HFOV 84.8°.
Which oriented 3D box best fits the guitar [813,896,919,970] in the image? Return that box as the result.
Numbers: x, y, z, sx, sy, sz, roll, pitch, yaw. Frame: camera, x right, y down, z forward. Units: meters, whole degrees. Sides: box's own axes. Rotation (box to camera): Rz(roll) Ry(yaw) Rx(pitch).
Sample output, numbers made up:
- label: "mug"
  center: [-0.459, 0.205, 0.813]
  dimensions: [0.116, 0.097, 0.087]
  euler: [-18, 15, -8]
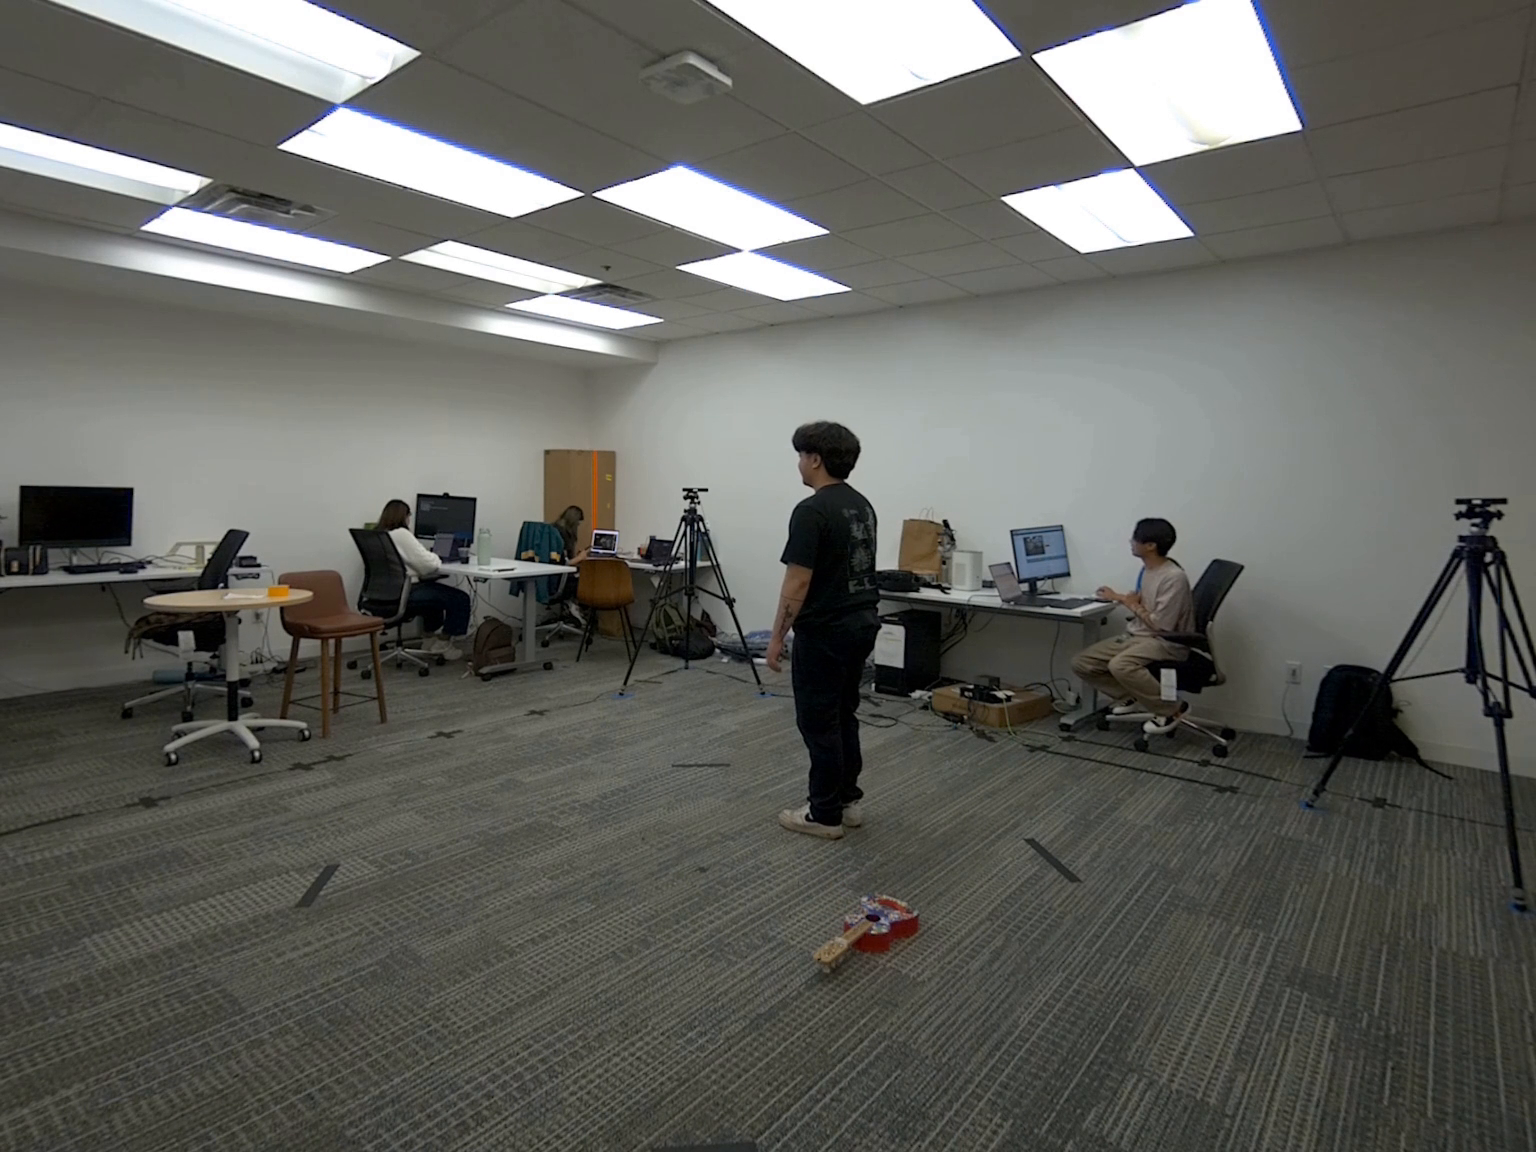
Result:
- label: "guitar"
  center: [0.265, 1.092, 2.630]
  dimensions: [0.482, 0.070, 0.200]
  euler: [-3, 7, -45]
